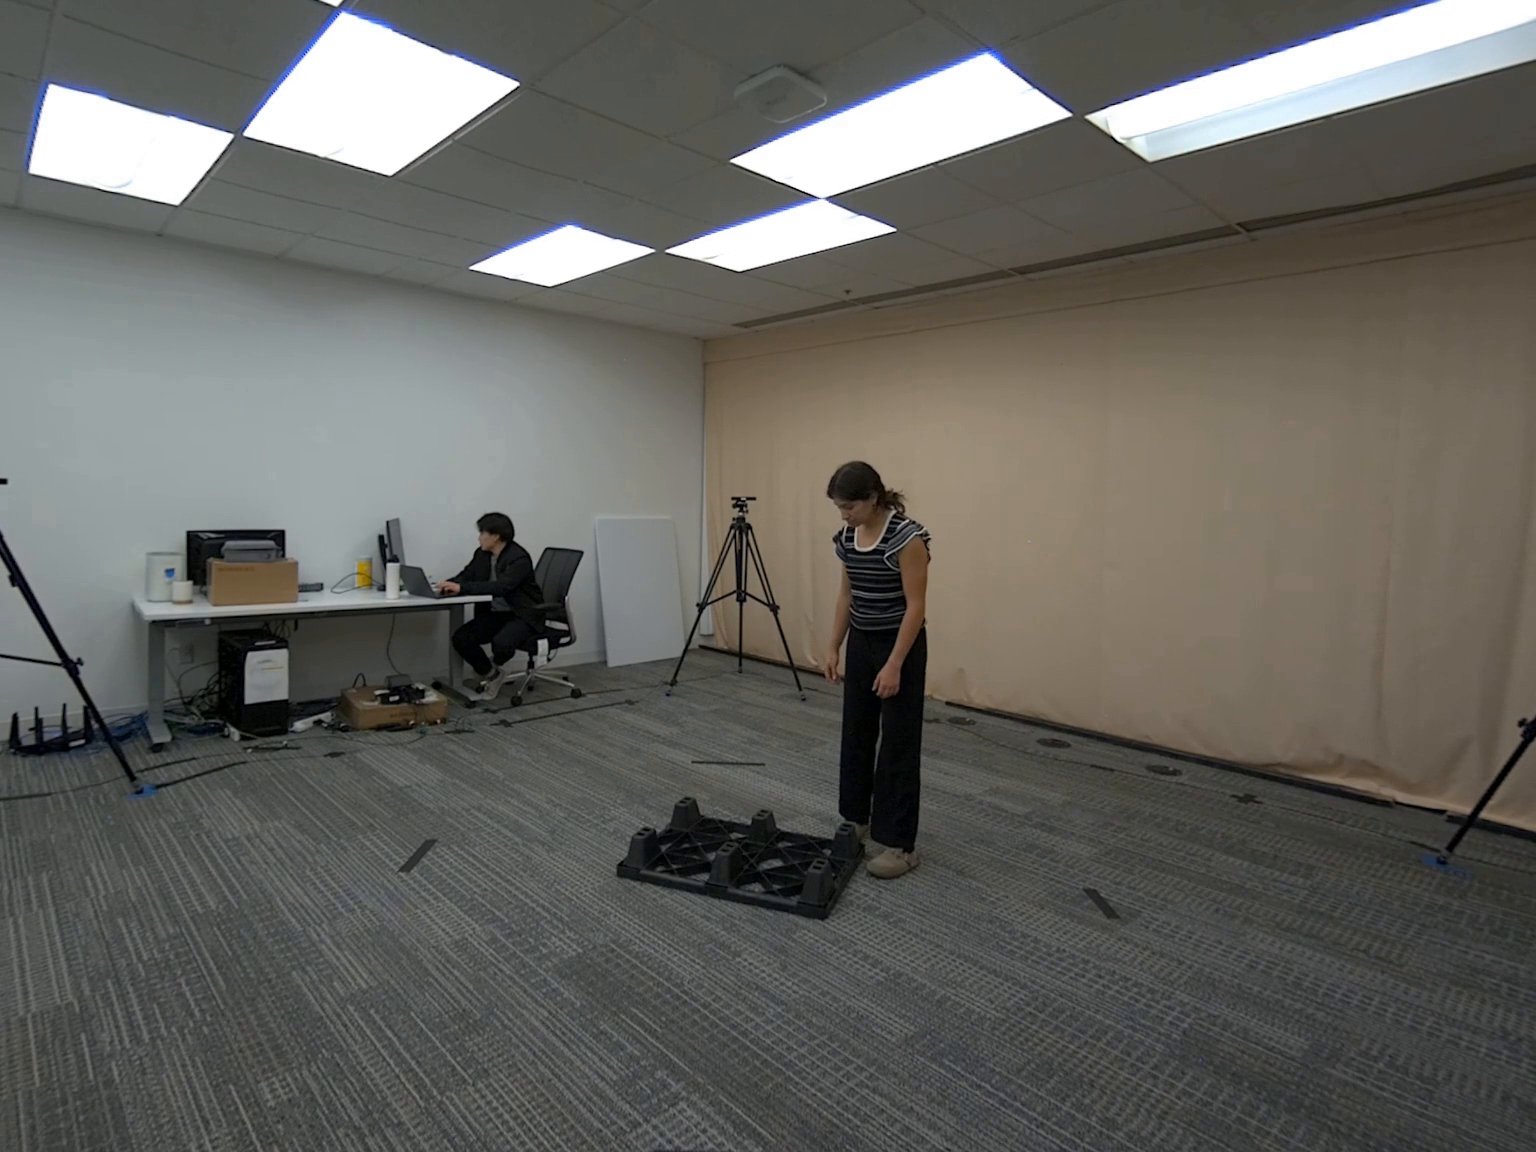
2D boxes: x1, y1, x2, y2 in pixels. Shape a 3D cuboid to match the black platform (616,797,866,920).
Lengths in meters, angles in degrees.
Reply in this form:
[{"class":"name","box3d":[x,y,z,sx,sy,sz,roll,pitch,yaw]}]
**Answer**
[{"class":"black platform","box3d":[-0.089,1.034,3.203,0.819,0.143,0.596,3,5,21]}]
